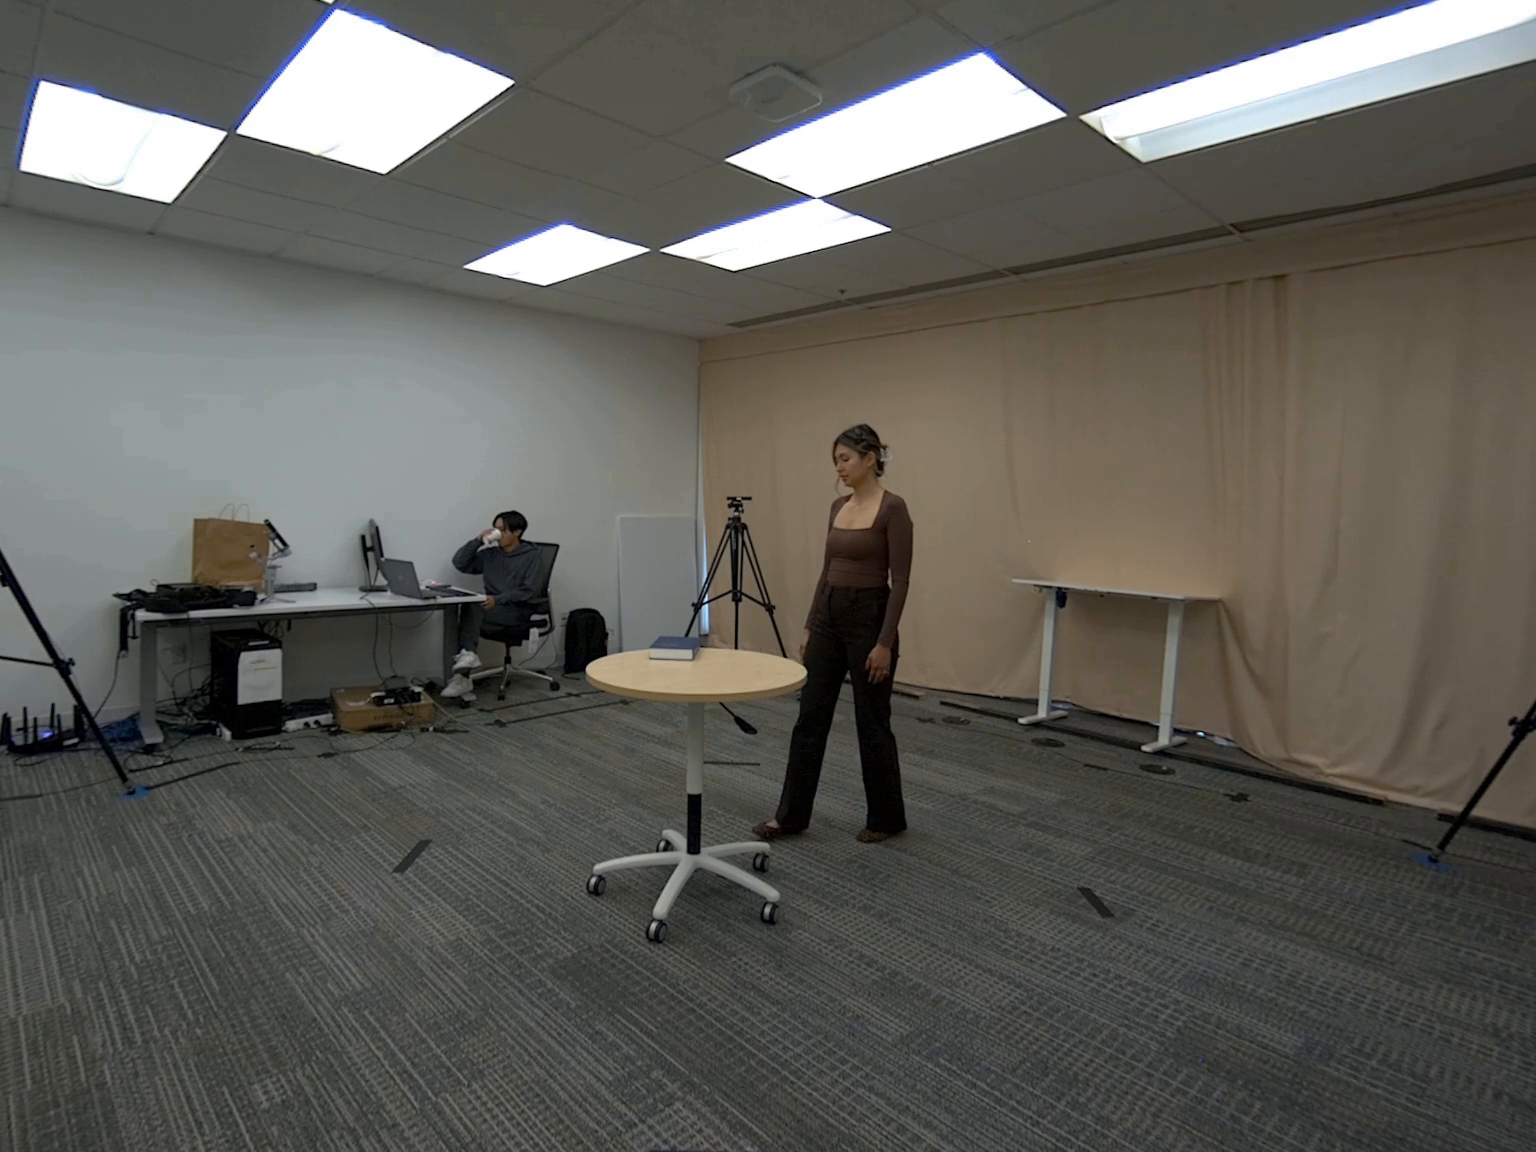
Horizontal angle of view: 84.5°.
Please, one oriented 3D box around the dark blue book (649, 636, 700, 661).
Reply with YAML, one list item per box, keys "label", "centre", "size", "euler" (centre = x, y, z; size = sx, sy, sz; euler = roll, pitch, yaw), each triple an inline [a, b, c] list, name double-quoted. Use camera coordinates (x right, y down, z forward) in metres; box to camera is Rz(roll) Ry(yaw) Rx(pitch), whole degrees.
- label: "dark blue book"
  centre: [-0.360, 0.276, 3.174]
  size: [0.164, 0.045, 0.245]
  euler: [1, 6, 3]
